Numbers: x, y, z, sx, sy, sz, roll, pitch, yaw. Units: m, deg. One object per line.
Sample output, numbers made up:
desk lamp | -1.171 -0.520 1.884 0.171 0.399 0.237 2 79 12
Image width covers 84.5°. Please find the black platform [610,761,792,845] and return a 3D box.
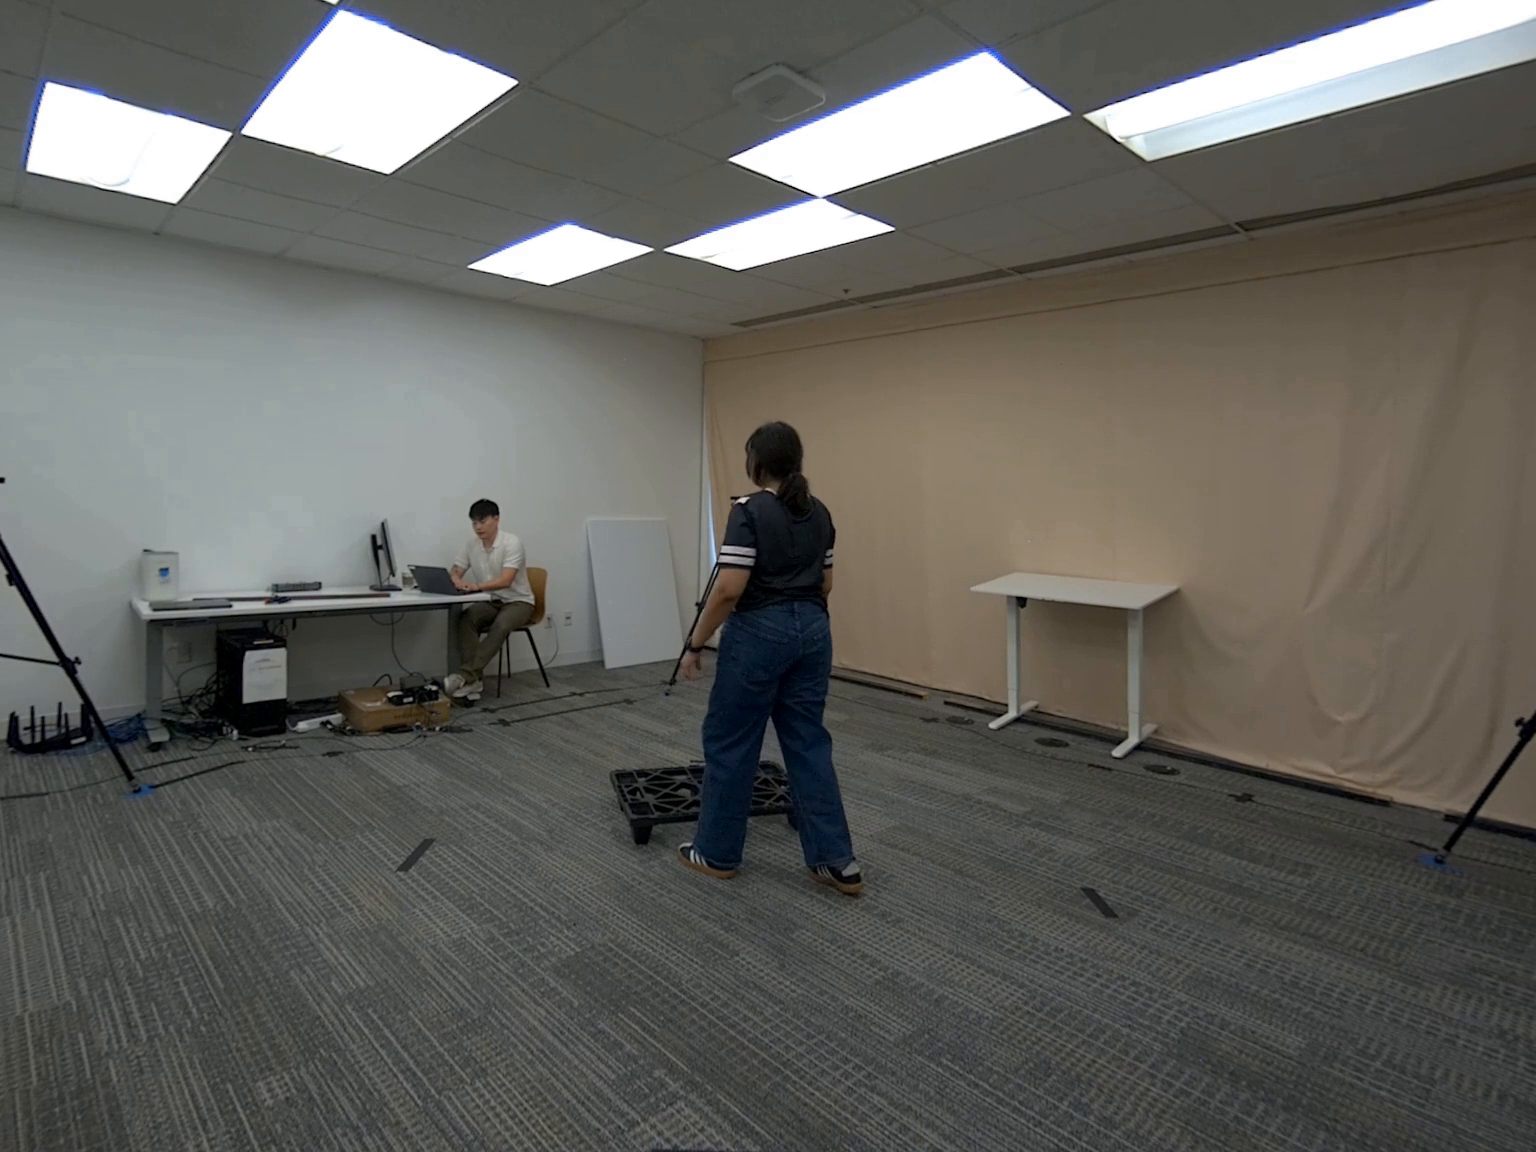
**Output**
black platform | -0.258 0.985 3.676 0.795 0.143 0.615 0 6 -17
